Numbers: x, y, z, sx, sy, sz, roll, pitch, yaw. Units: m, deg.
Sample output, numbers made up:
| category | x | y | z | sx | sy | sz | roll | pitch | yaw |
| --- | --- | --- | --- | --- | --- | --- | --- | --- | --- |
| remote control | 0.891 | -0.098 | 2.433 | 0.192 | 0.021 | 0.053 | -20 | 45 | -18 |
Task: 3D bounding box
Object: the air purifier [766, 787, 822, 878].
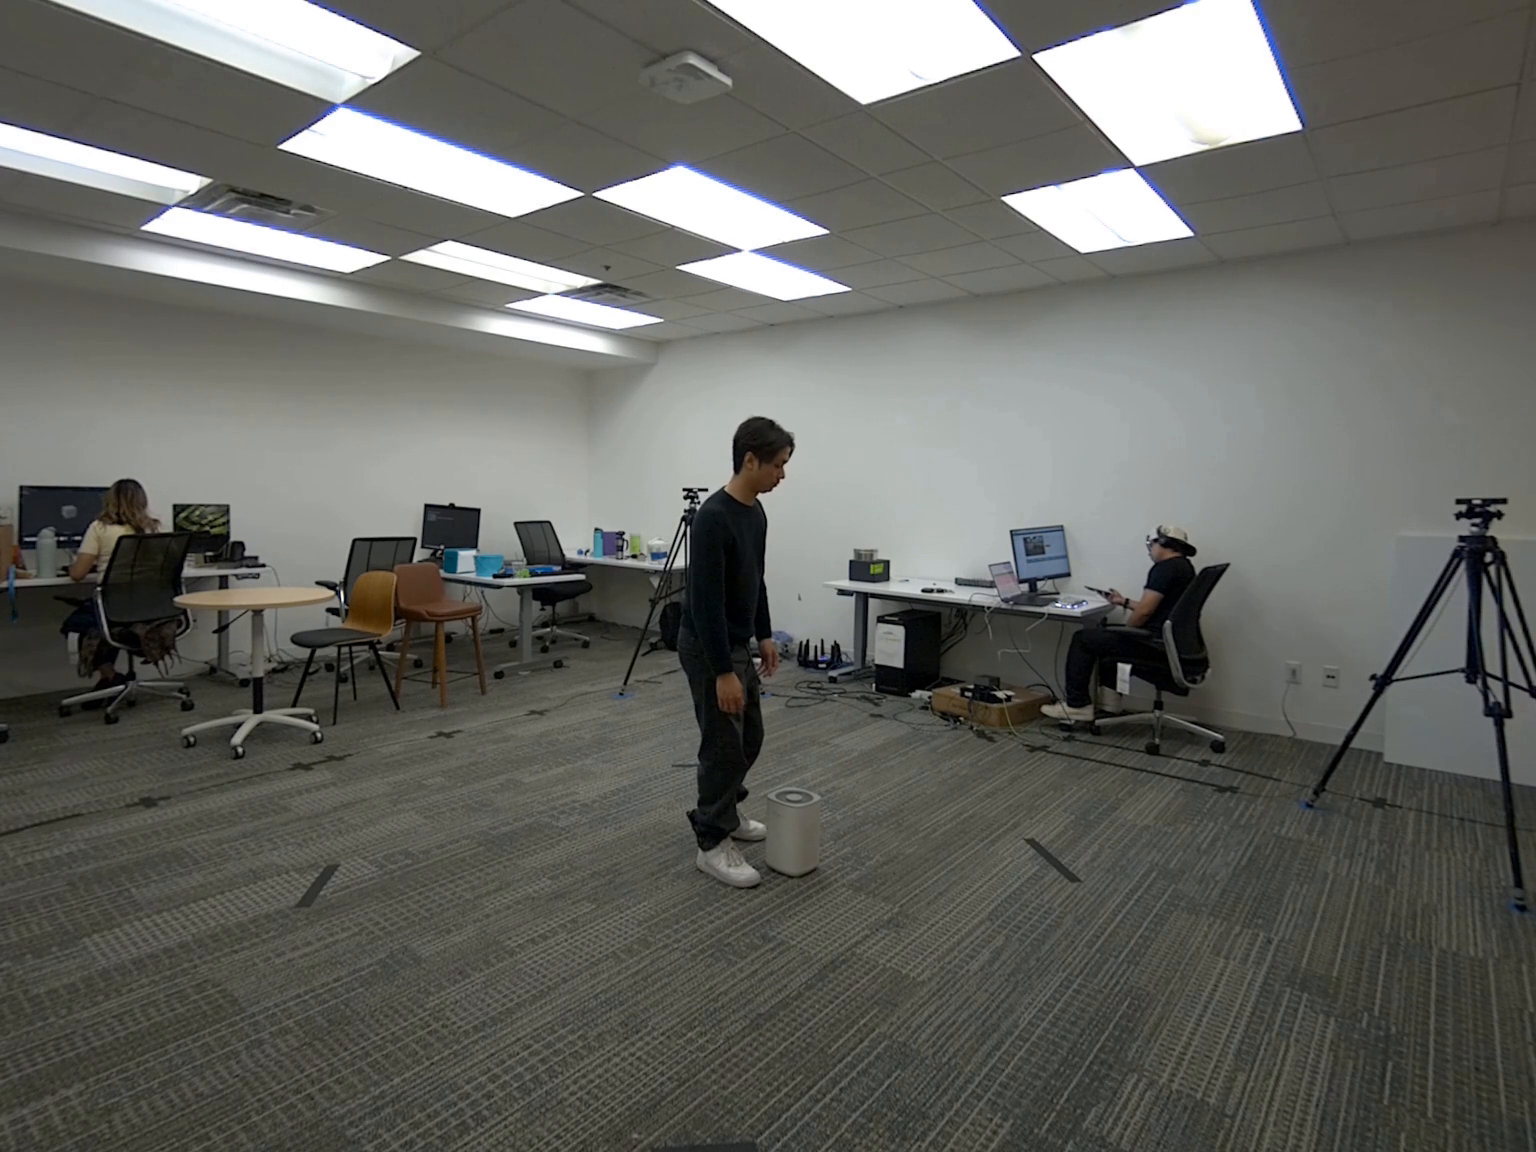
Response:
| category | x | y | z | sx | sy | sz | roll | pitch | yaw |
| --- | --- | --- | --- | --- | --- | --- | --- | --- | --- |
| air purifier | 0.084 | 0.946 | 3.138 | 0.177 | 0.264 | 0.166 | 5 | 5 | 41 |
